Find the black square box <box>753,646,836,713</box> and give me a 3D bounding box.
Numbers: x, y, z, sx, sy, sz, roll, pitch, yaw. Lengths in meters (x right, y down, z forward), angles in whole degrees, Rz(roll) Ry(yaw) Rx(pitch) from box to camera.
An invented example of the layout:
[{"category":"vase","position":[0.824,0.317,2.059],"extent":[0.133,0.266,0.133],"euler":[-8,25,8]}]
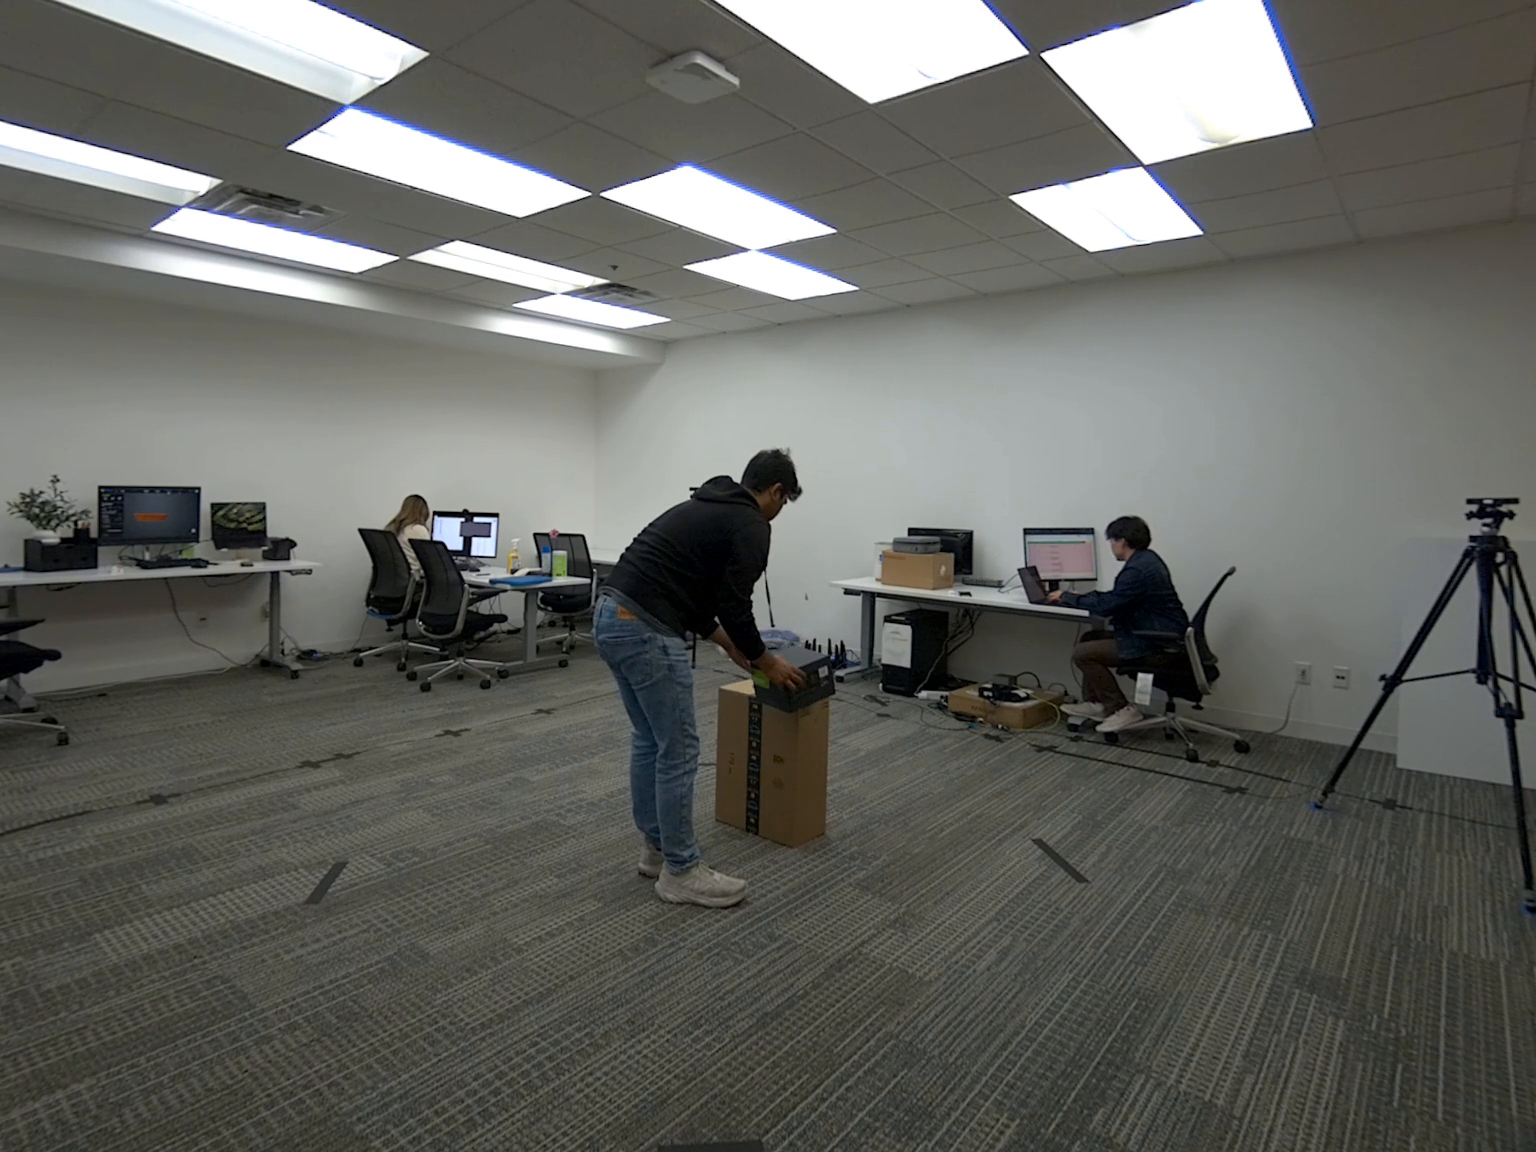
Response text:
[{"category":"black square box","position":[0.077,0.396,3.198],"extent":[0.213,0.154,0.235],"euler":[-17,13,-31]}]
